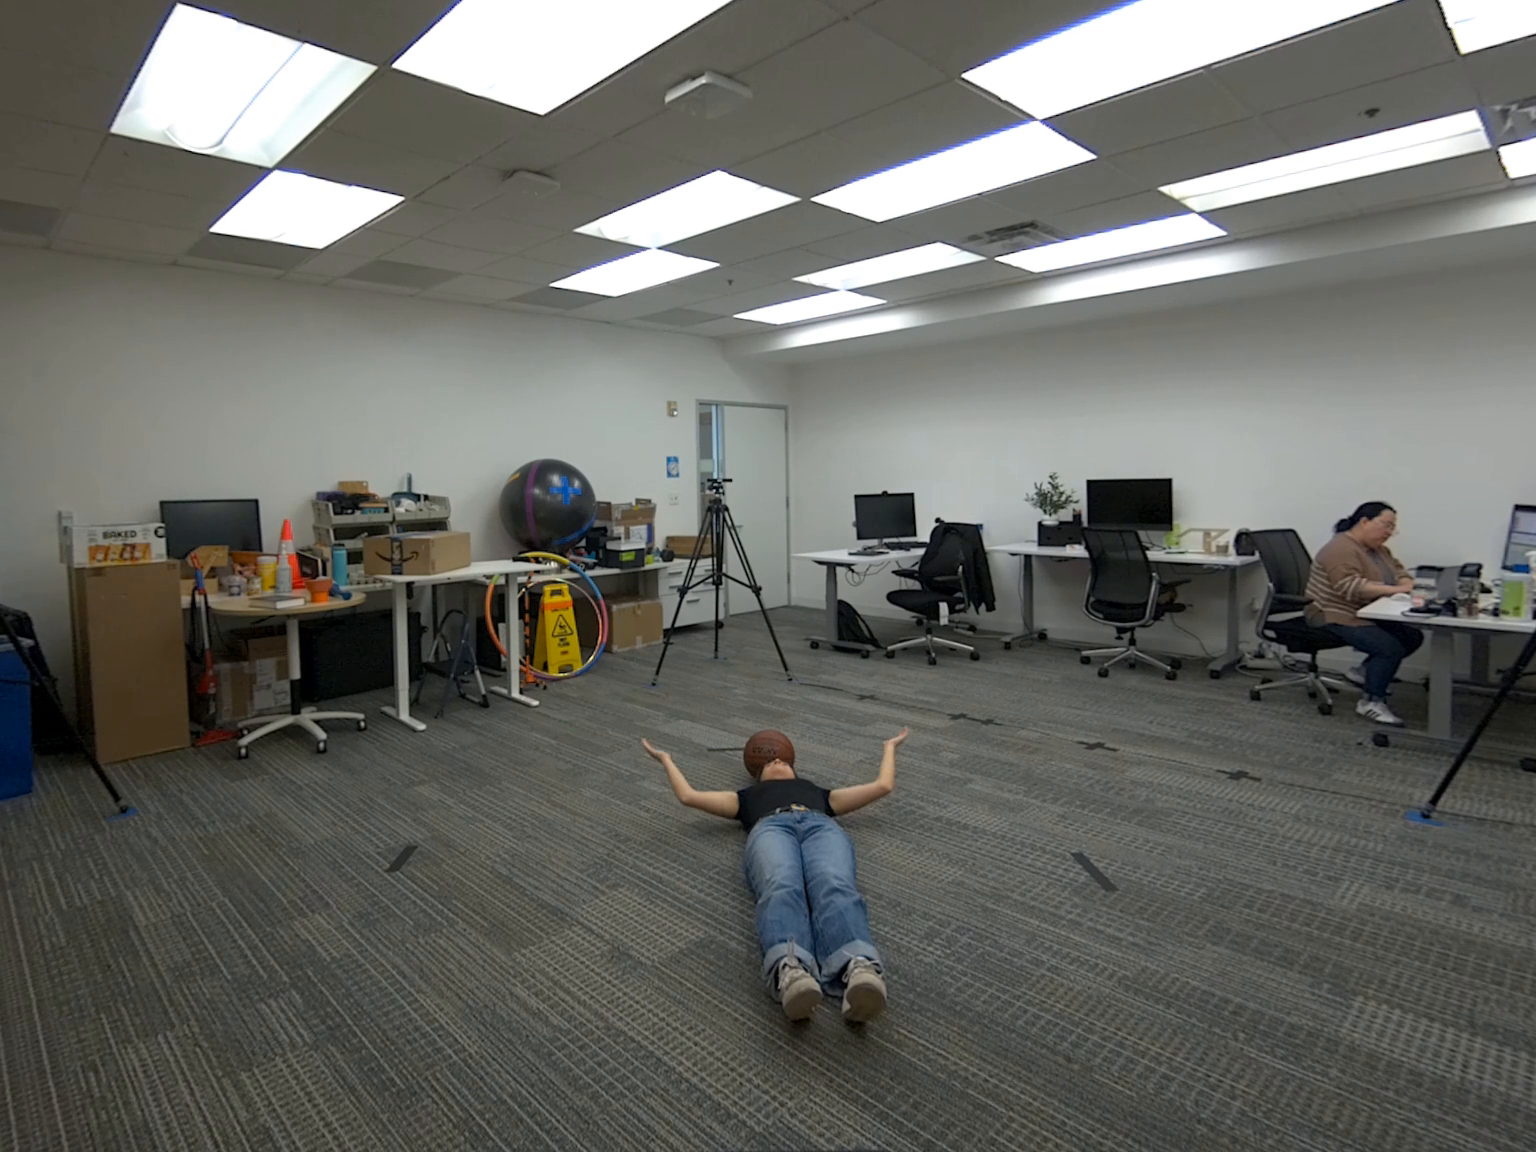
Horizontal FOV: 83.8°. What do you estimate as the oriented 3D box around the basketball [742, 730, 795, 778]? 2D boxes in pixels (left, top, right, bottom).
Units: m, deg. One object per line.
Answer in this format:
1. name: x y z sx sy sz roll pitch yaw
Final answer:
1. basketball: 0.003 0.830 3.951 0.236 0.235 0.237 -1 5 -2
